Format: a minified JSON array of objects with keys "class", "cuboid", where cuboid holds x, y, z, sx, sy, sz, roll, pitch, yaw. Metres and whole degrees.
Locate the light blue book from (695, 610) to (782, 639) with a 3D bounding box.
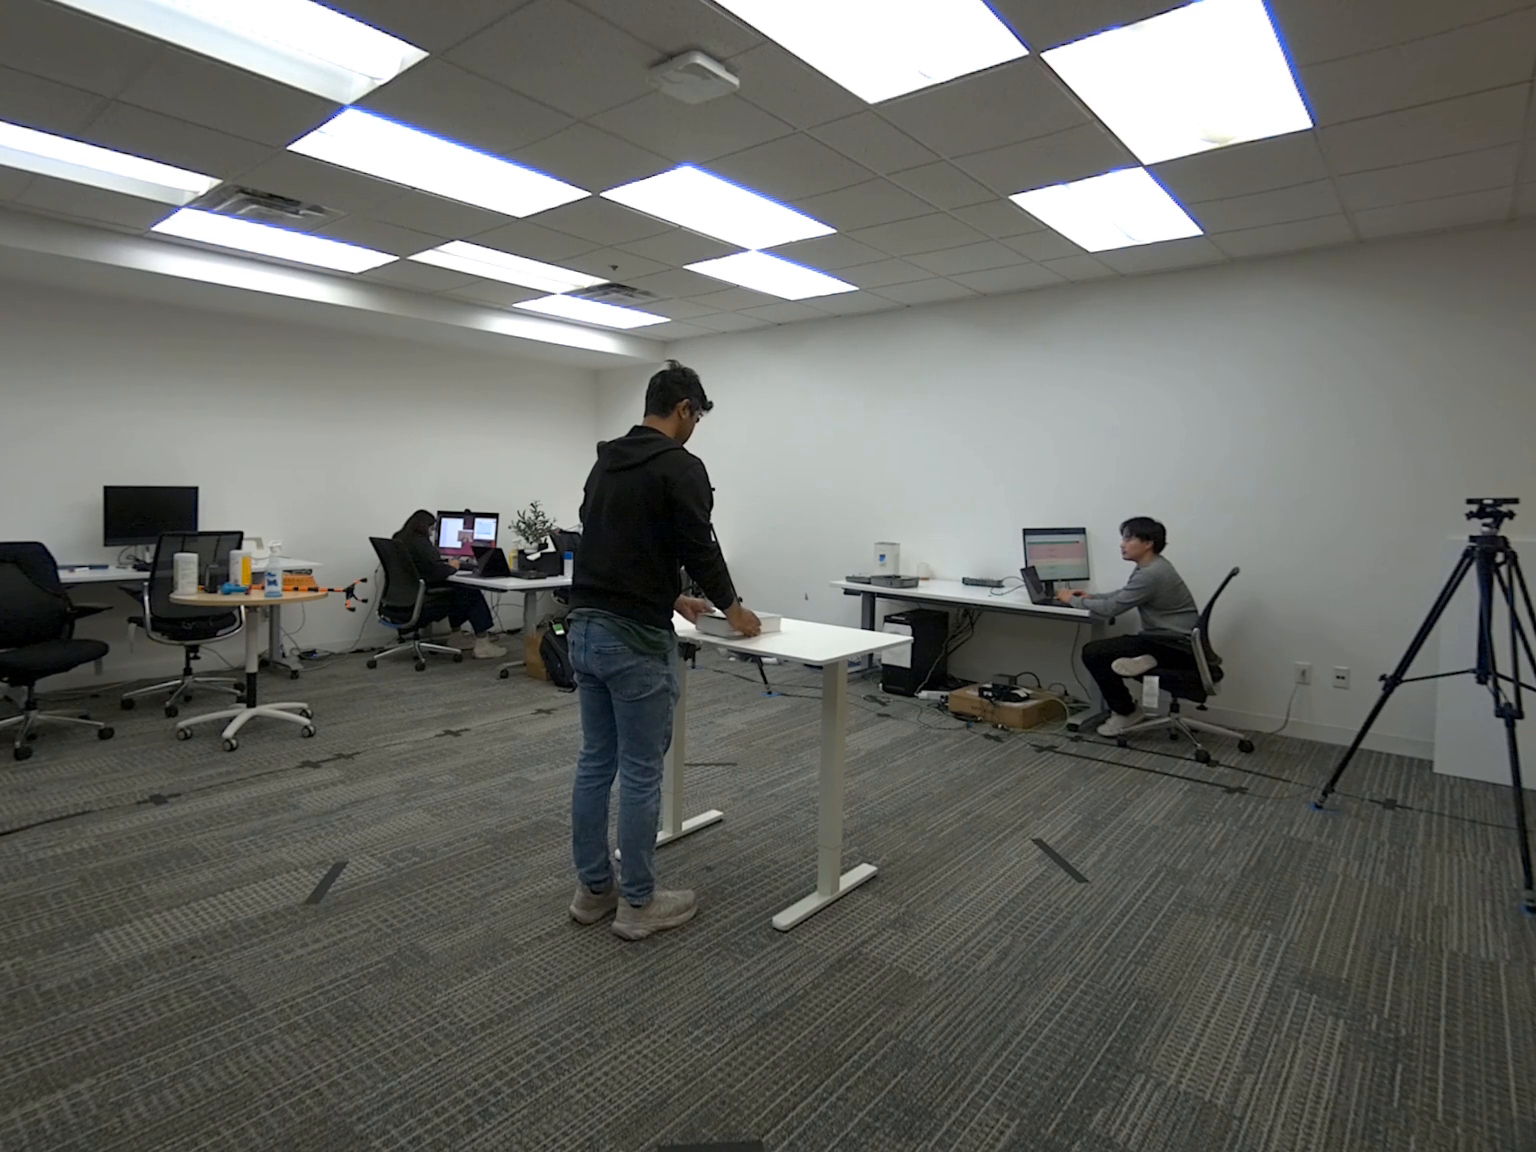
[{"class":"light blue book","cuboid":[-0.095,0.166,3.025,0.198,0.059,0.253,6,6,38]}]
